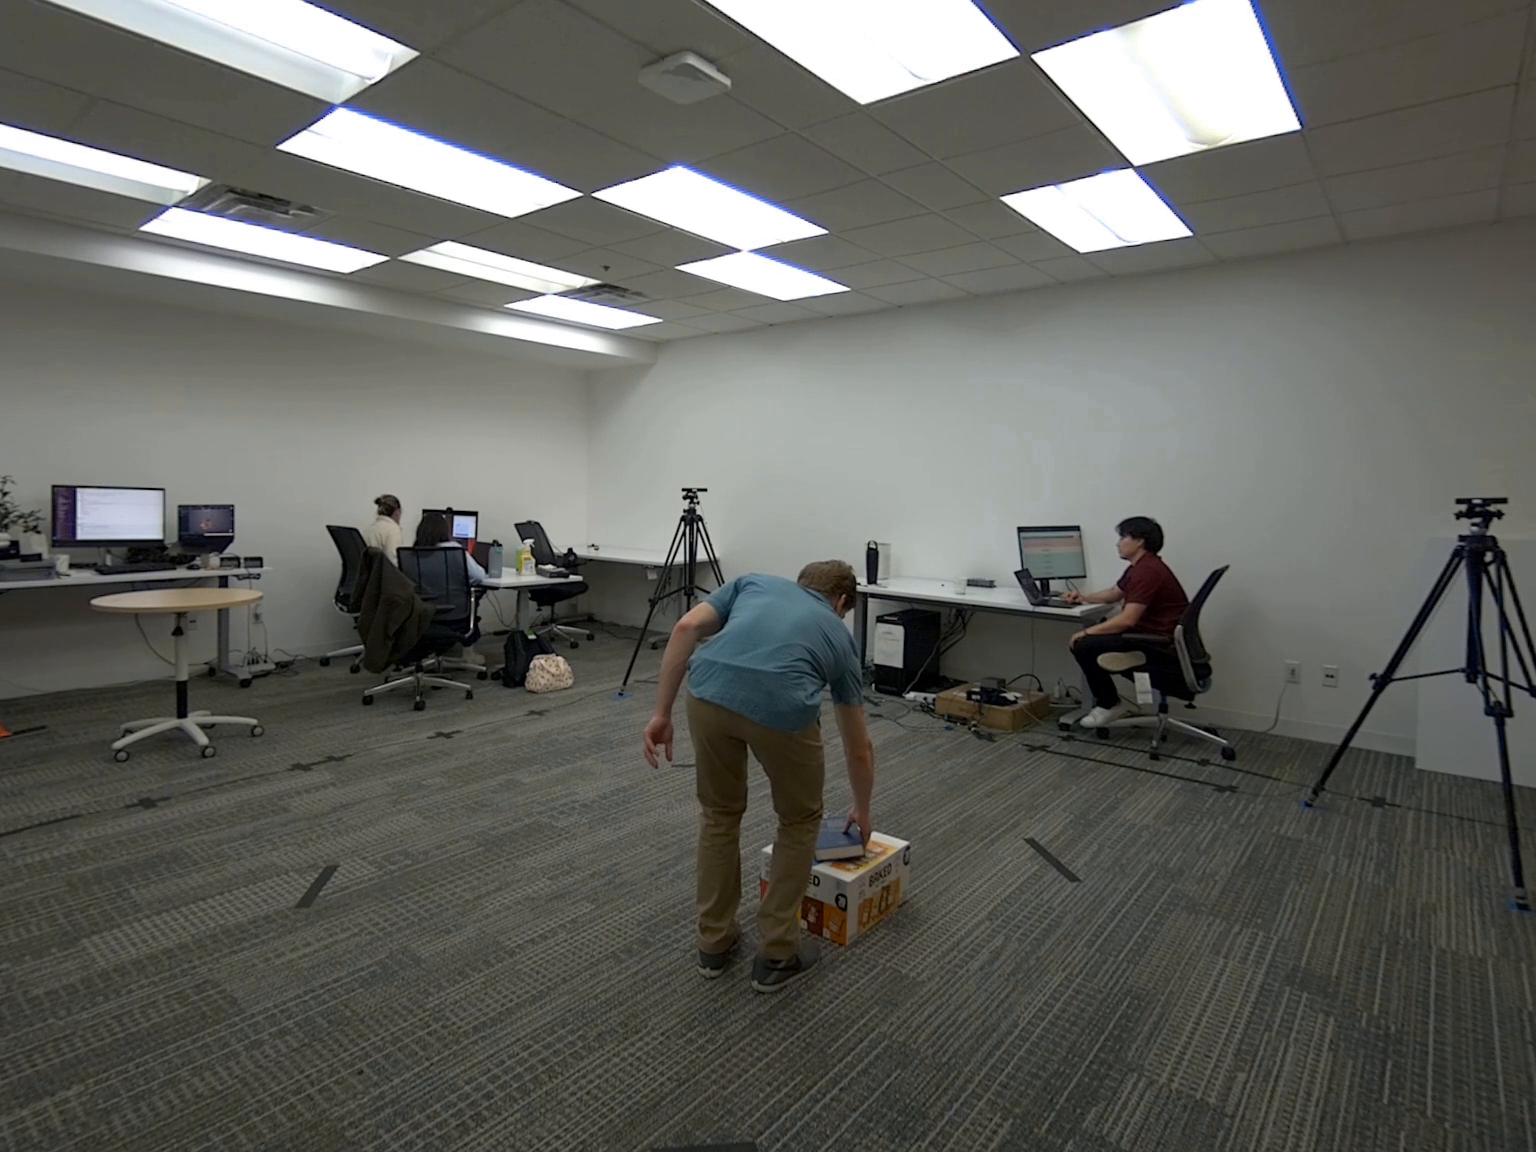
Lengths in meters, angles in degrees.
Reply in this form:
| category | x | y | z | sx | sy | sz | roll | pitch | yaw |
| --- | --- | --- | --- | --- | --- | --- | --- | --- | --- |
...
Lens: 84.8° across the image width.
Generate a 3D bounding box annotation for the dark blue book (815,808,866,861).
| category | x | y | z | sx | sy | sz | roll | pitch | yaw |
| --- | --- | --- | --- | --- | --- | --- | --- | --- | --- |
| dark blue book | 0.224 | 0.875 | 2.860 | 0.163 | 0.045 | 0.247 | -10 | 8 | -2 |
